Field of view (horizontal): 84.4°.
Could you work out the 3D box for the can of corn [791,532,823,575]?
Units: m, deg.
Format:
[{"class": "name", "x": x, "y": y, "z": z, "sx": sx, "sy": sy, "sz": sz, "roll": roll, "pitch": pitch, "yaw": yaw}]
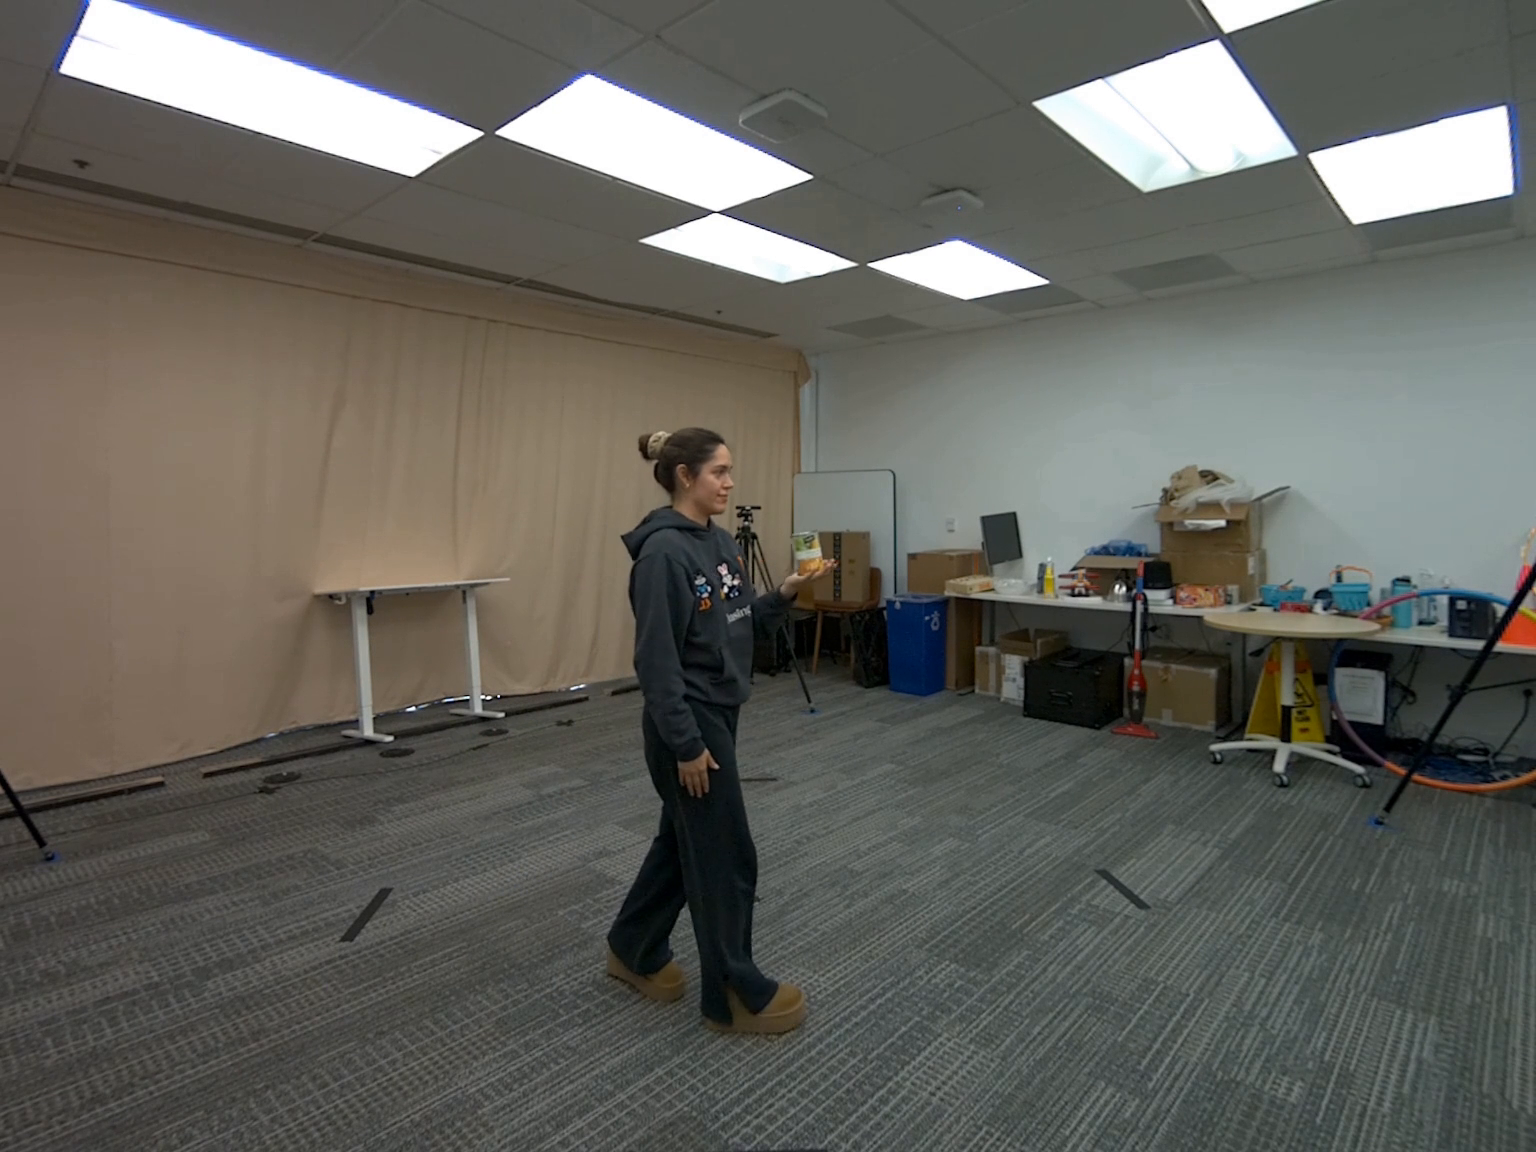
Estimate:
[{"class": "can of corn", "x": 0.093, "y": -0.063, "z": 2.252, "sx": 0.074, "sy": 0.111, "sz": 0.074, "roll": -7, "pitch": 3, "yaw": -1}]
